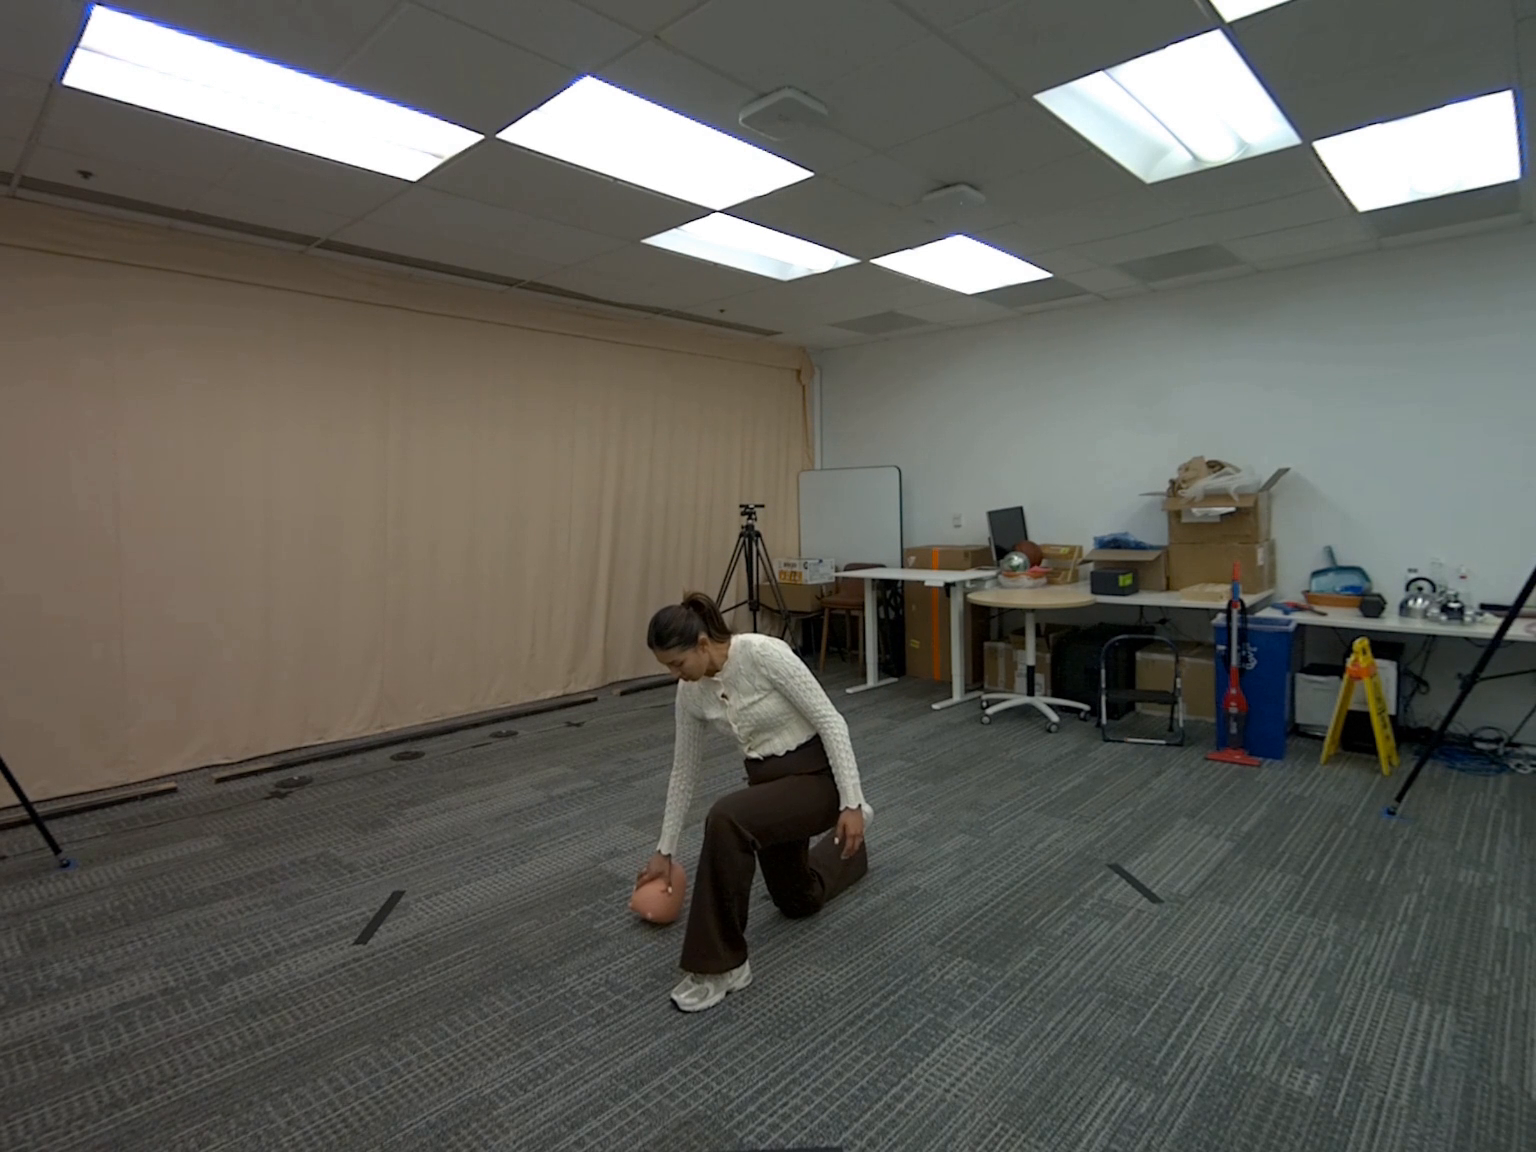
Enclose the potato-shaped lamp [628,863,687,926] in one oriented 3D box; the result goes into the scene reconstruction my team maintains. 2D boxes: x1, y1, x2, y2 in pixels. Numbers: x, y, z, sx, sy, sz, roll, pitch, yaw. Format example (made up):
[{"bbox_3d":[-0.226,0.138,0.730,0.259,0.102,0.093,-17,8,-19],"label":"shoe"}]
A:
[{"bbox_3d":[-0.356,1.060,2.841,0.170,0.199,0.165,4,-25,39],"label":"potato-shaped lamp"}]
